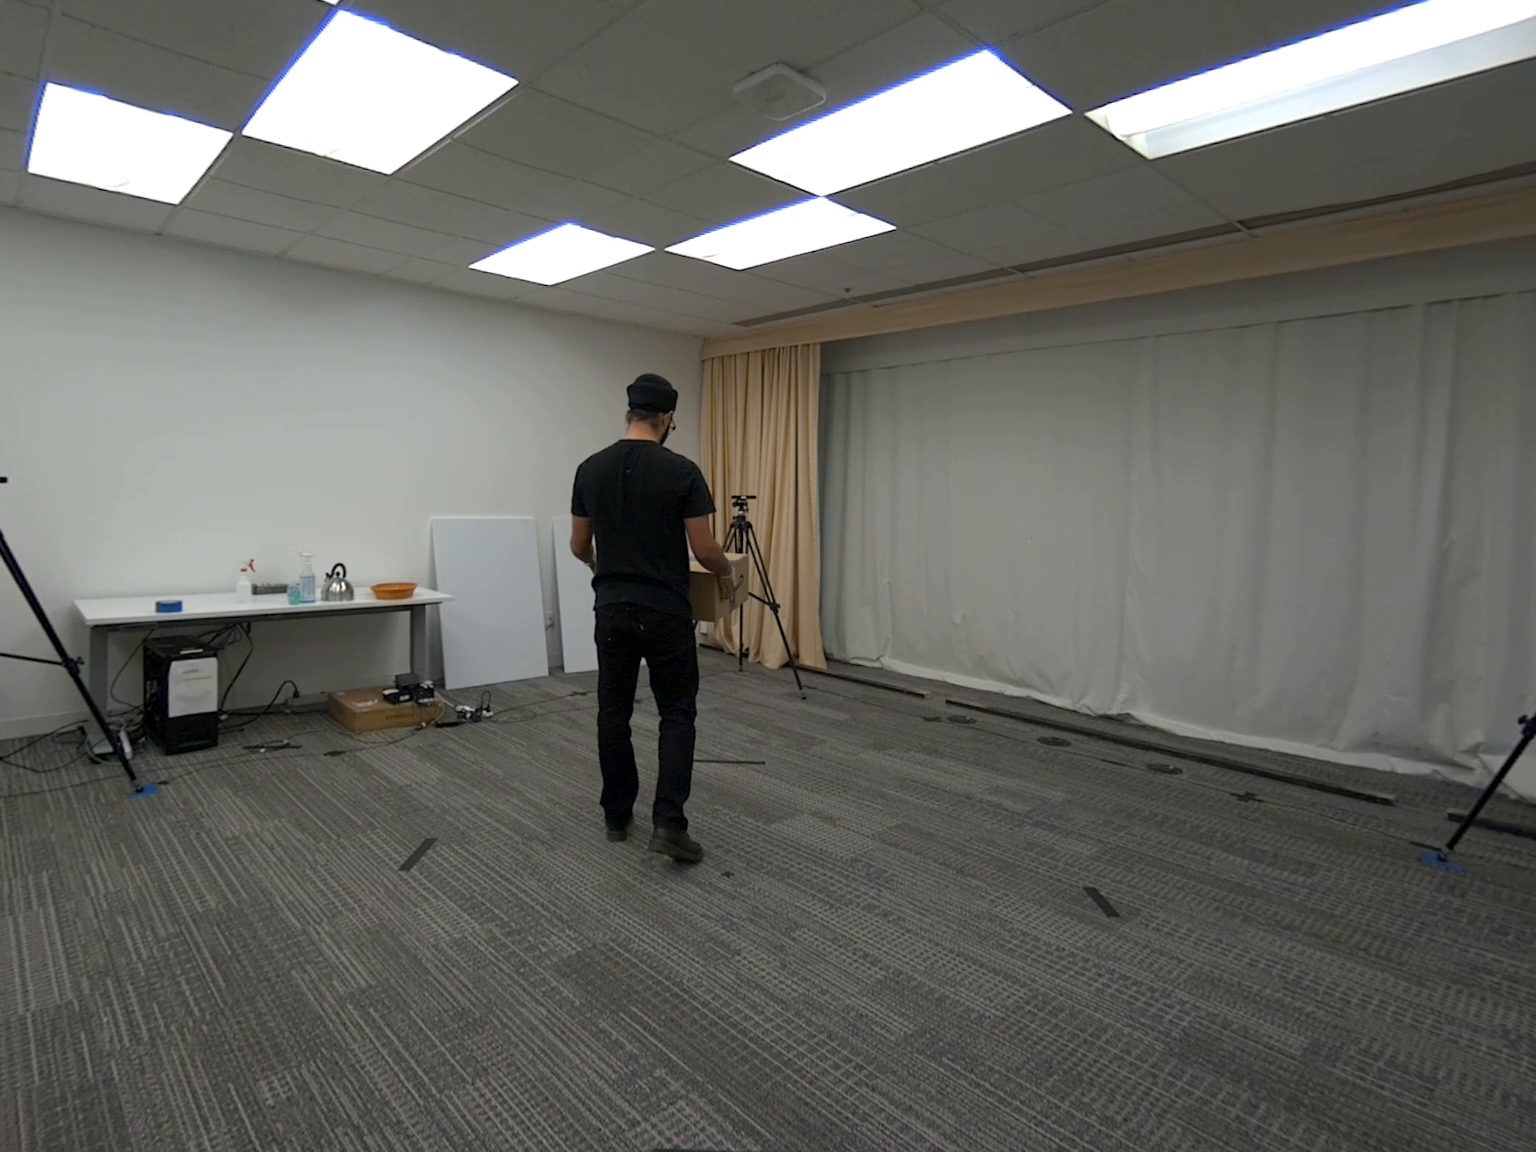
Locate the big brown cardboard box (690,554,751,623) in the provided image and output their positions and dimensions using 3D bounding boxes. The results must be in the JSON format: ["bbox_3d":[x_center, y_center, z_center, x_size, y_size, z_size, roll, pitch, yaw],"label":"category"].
[{"bbox_3d":[-0.425,0.026,3.745,0.598,0.231,0.414,5,13,18],"label":"big brown cardboard box"}]
